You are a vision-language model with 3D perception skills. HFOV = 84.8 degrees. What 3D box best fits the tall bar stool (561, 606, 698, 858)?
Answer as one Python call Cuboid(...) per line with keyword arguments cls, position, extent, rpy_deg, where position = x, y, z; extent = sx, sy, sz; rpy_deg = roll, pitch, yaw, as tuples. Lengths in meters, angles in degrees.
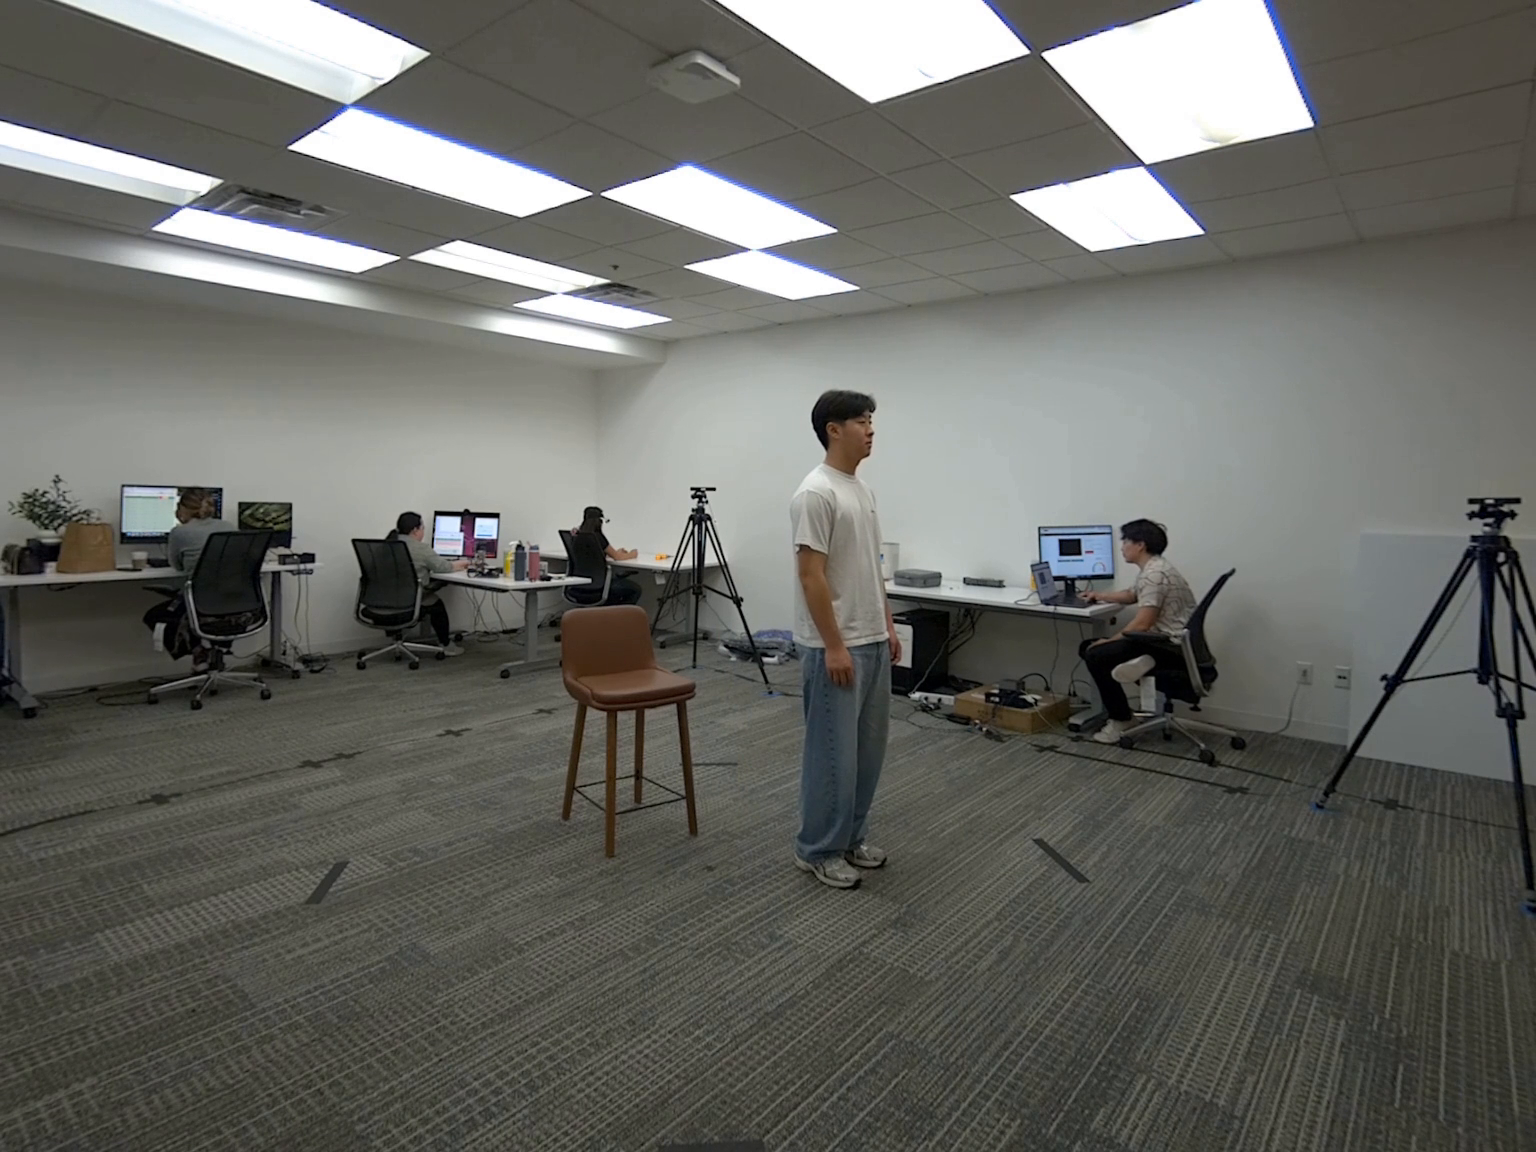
Cuboid(cls="tall bar stool", position=(-0.588, 0.587, 3.464), extent=(0.443, 0.888, 0.482), rpy_deg=(-1, 2, -38))
